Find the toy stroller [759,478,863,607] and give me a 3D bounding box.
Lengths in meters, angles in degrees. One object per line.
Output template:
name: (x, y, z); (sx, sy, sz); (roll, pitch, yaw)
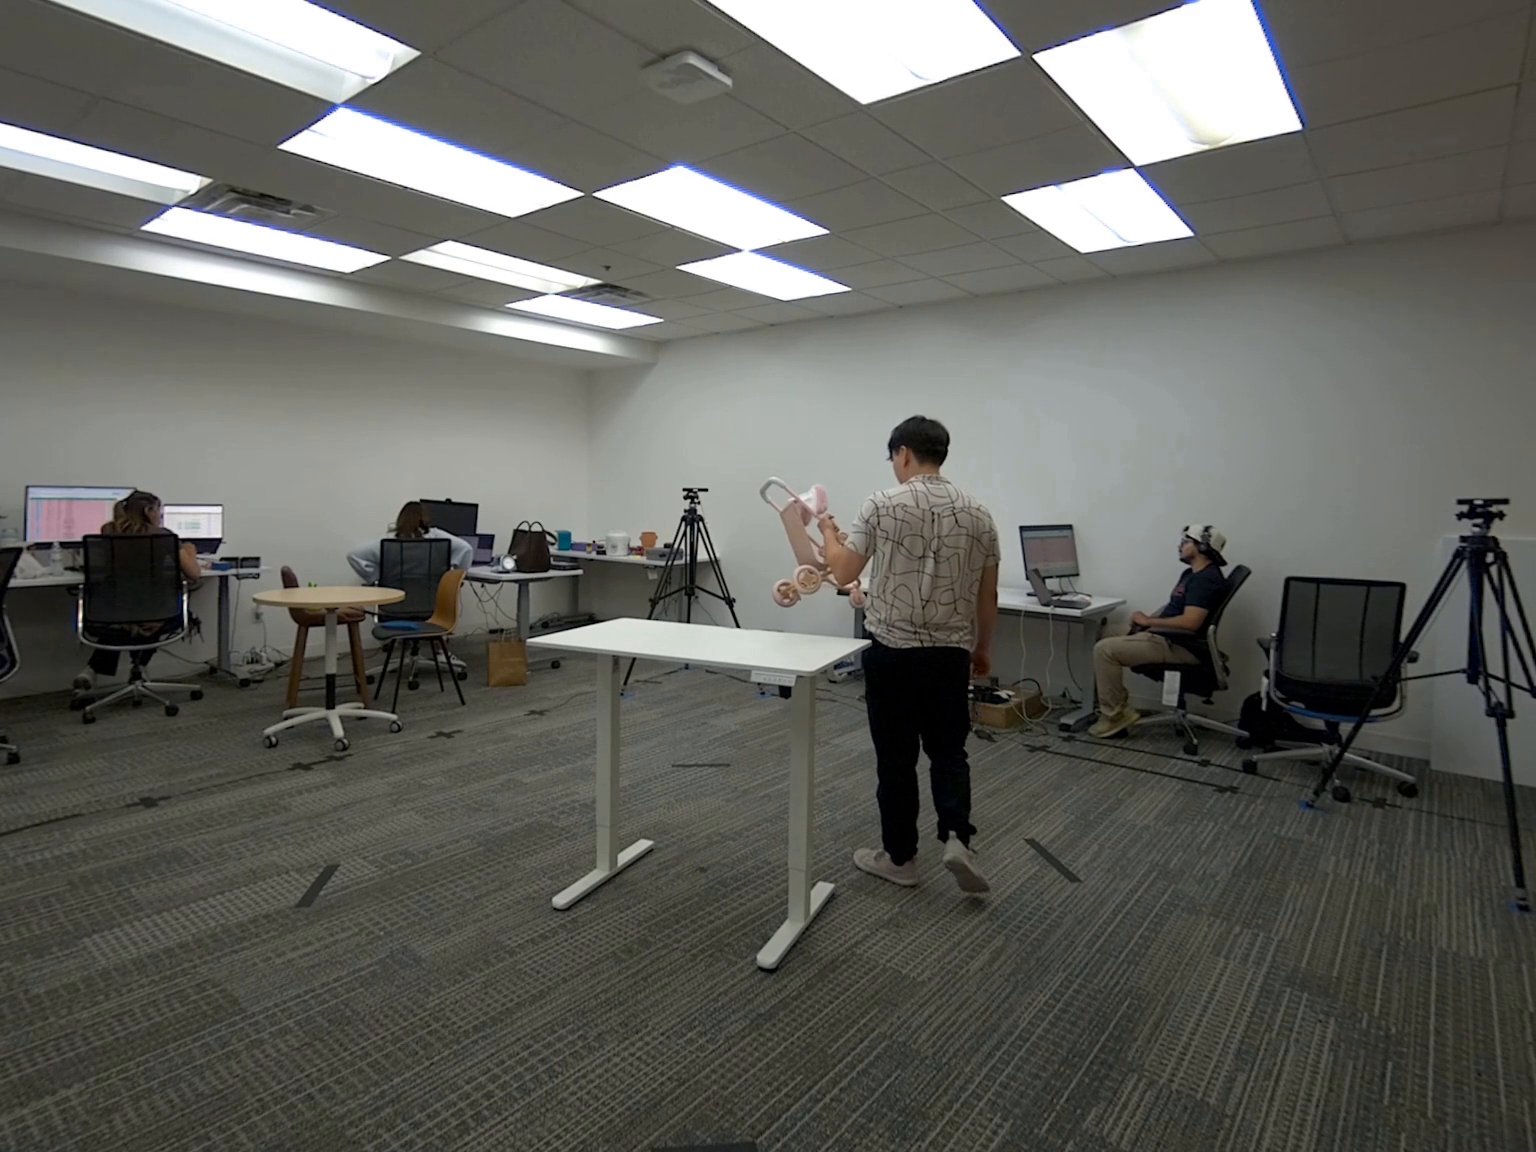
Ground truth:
toy stroller: (0.185, -0.125, 3.290); (0.337, 0.544, 0.280); (-6, -14, -14)
